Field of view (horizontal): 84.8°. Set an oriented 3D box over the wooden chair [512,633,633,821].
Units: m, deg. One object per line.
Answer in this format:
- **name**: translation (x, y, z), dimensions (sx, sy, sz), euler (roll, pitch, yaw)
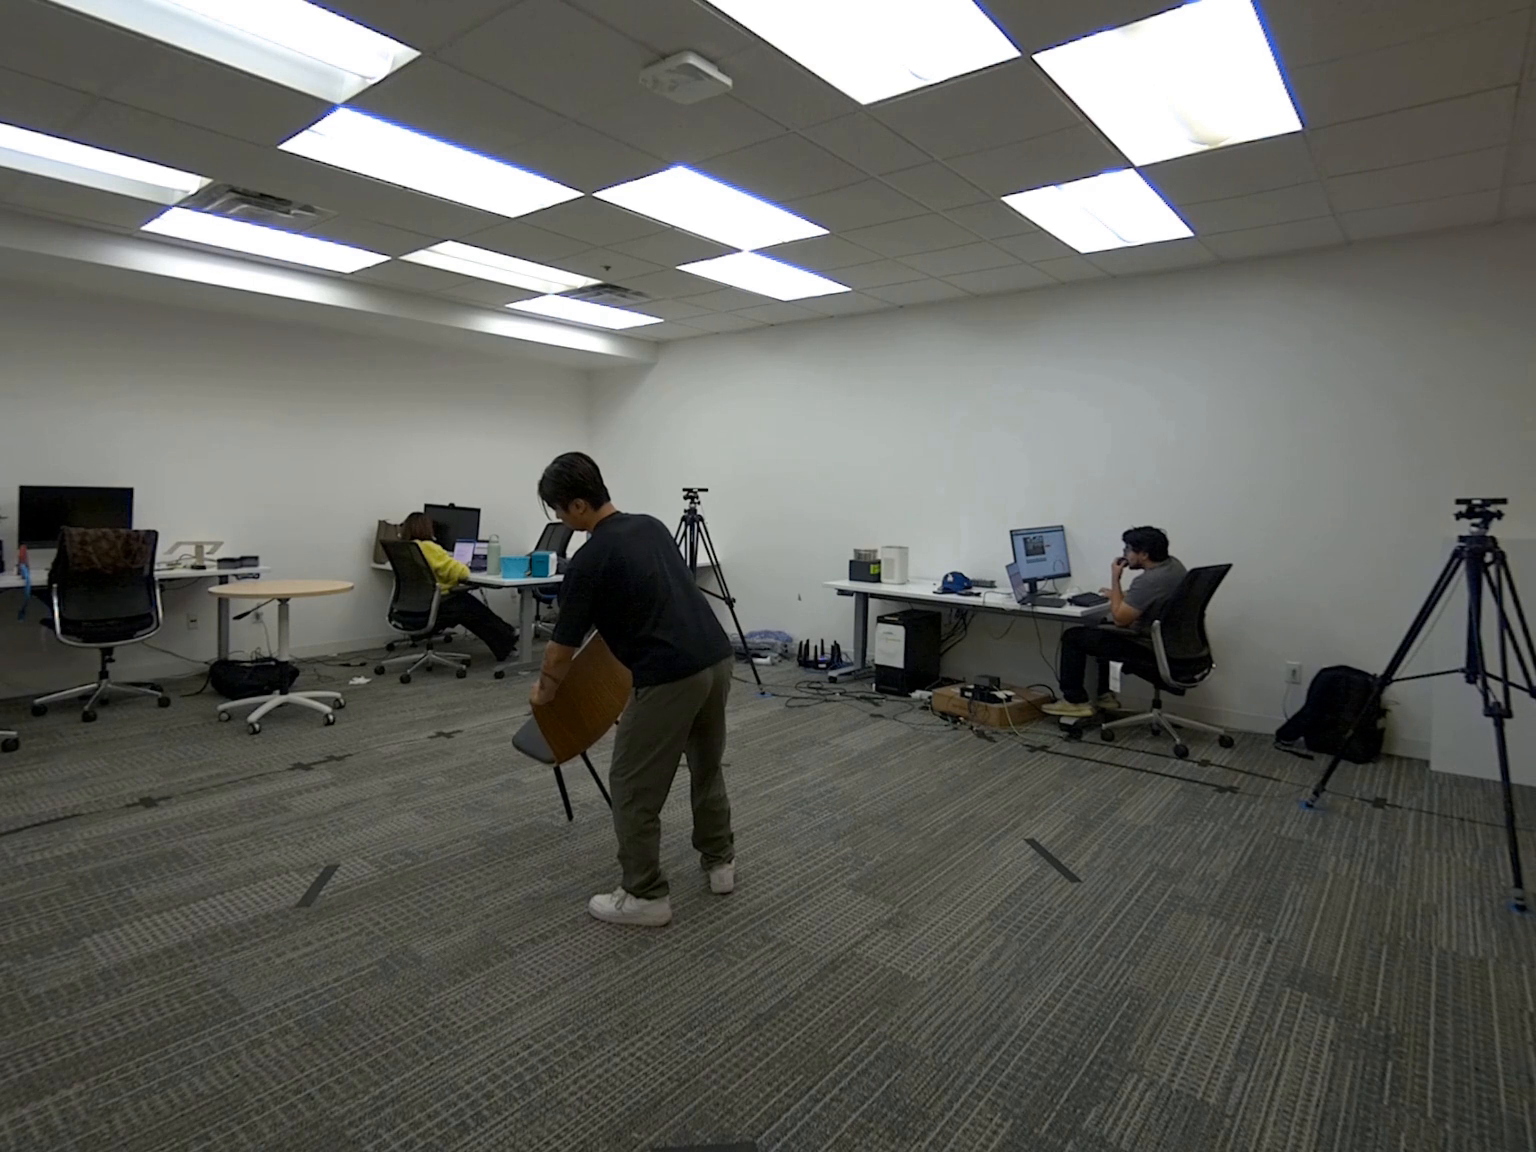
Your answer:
- **wooden chair**: translation (-0.731, 0.569, 3.310), dimensions (0.542, 0.847, 0.478), euler (9, 45, 41)
